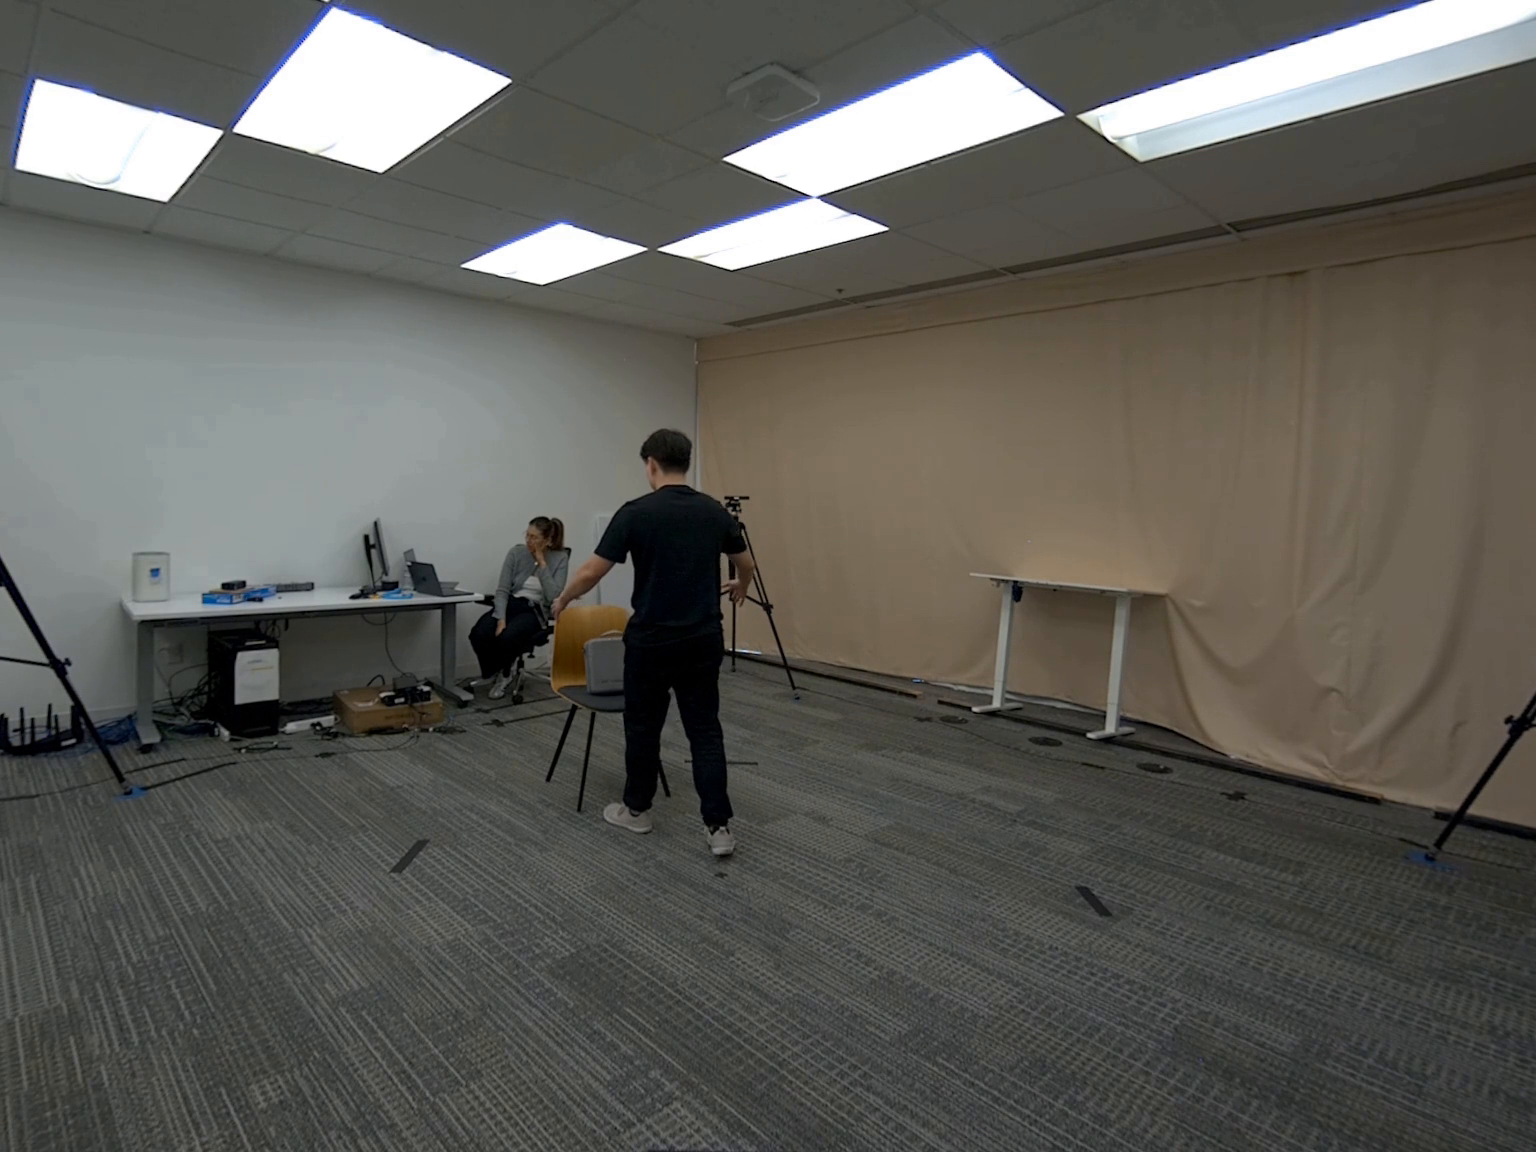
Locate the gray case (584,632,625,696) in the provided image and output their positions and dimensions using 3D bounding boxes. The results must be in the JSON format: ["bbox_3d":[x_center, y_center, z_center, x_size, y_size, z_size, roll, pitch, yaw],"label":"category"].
[{"bbox_3d":[-0.729,0.409,3.913,0.253,0.263,0.105,-3,-10,-19],"label":"gray case"}]
